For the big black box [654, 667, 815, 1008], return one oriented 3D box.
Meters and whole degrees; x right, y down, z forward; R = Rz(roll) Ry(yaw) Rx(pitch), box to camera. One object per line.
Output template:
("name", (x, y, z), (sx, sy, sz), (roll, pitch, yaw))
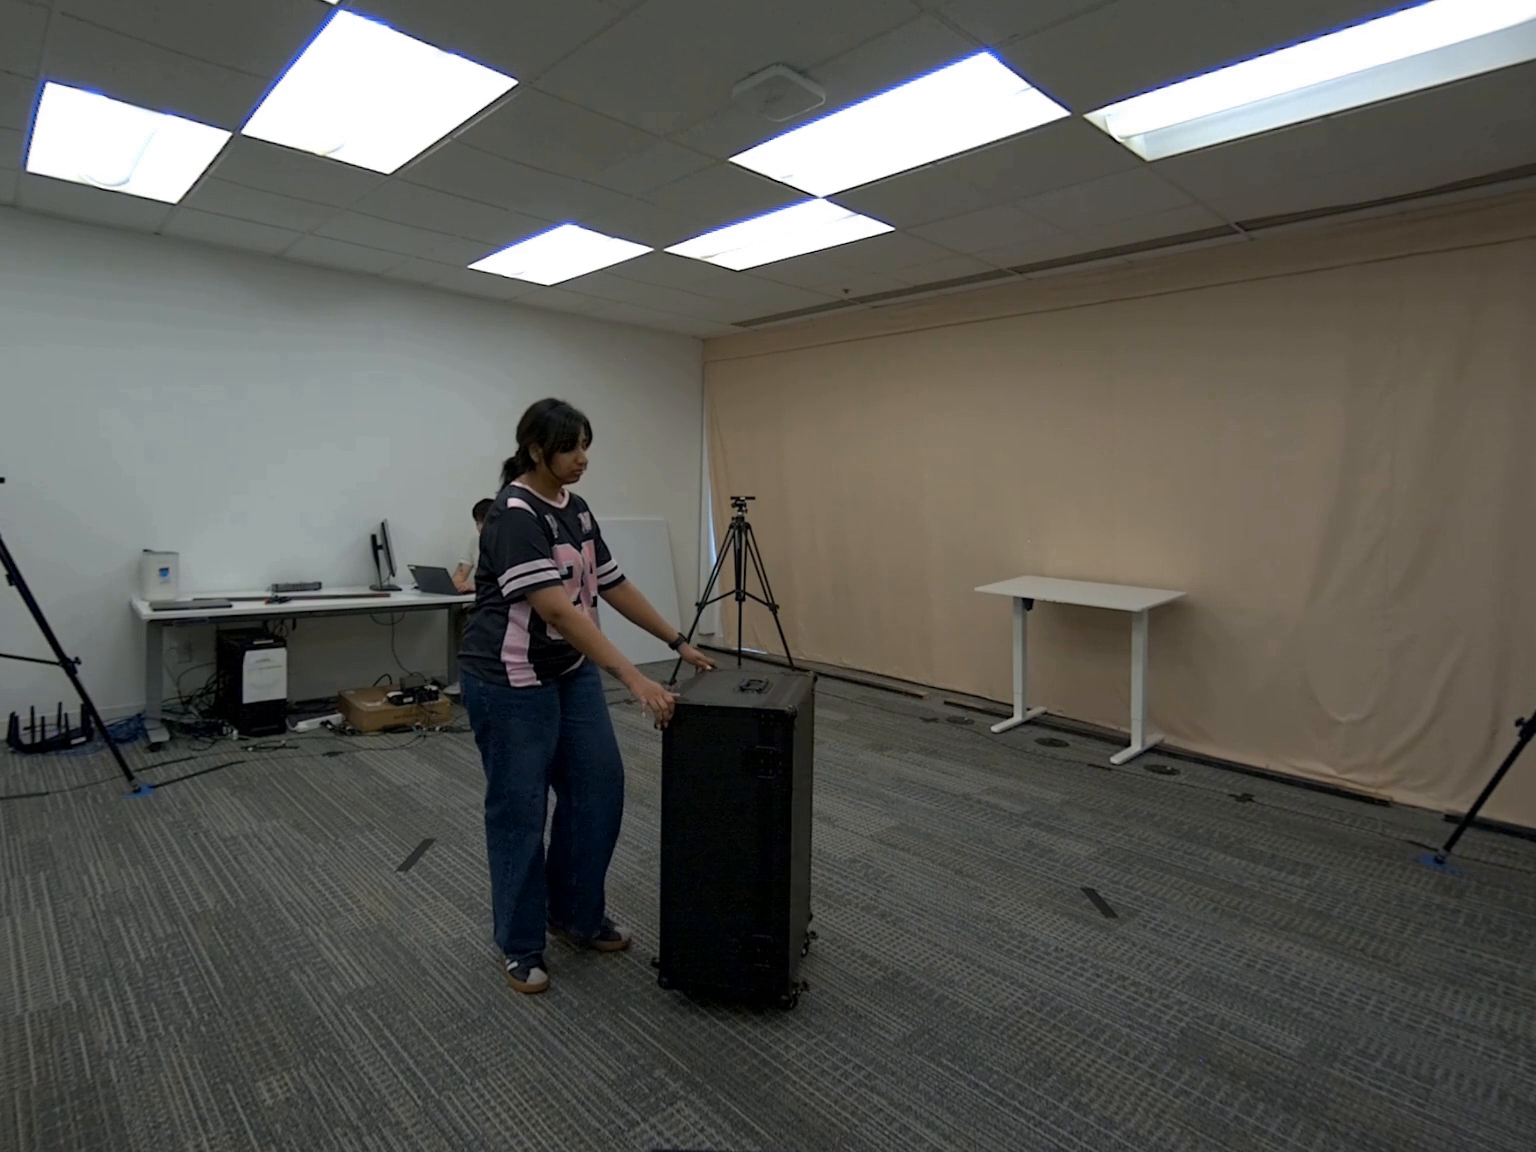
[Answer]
("big black box", (-0.080, 0.747, 2.427), (0.389, 0.867, 0.519), (2, 3, 11))
